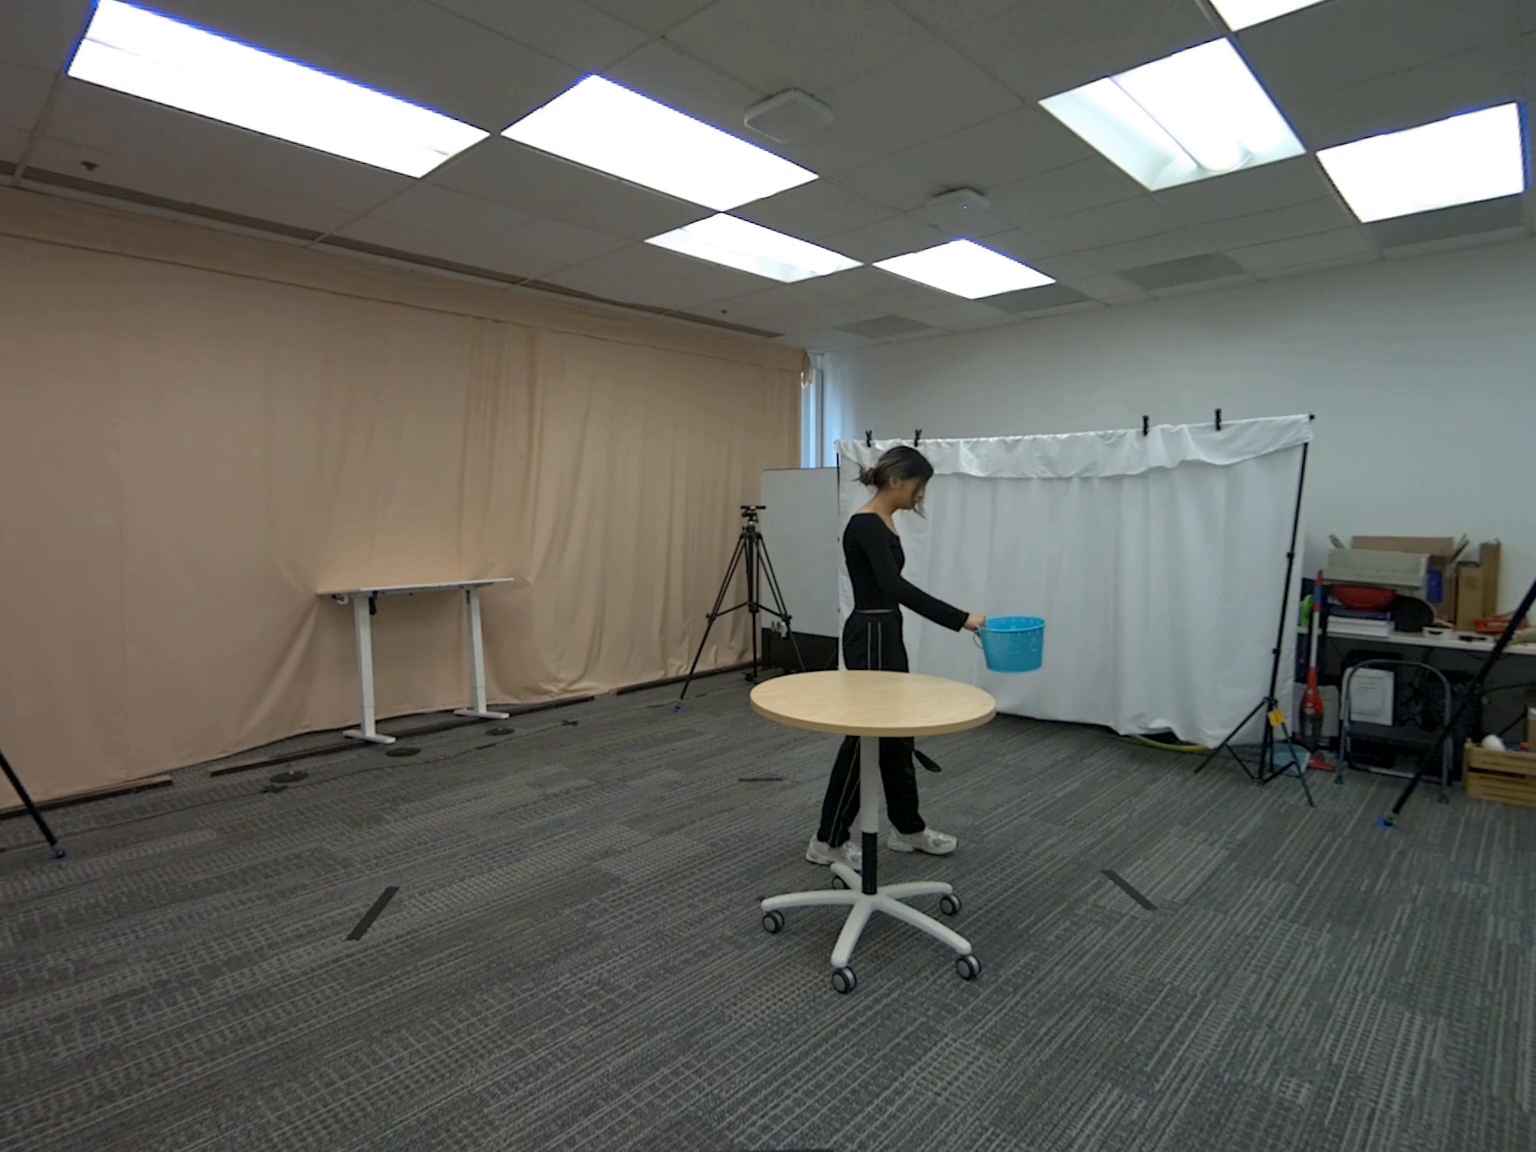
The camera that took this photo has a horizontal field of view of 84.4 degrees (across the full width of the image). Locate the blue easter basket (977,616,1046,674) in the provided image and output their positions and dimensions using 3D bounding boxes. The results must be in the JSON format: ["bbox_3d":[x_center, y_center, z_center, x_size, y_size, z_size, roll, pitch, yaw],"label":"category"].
[{"bbox_3d":[0.851,0.240,2.897,0.243,0.155,0.245,-5,8,-1],"label":"blue easter basket"}]
